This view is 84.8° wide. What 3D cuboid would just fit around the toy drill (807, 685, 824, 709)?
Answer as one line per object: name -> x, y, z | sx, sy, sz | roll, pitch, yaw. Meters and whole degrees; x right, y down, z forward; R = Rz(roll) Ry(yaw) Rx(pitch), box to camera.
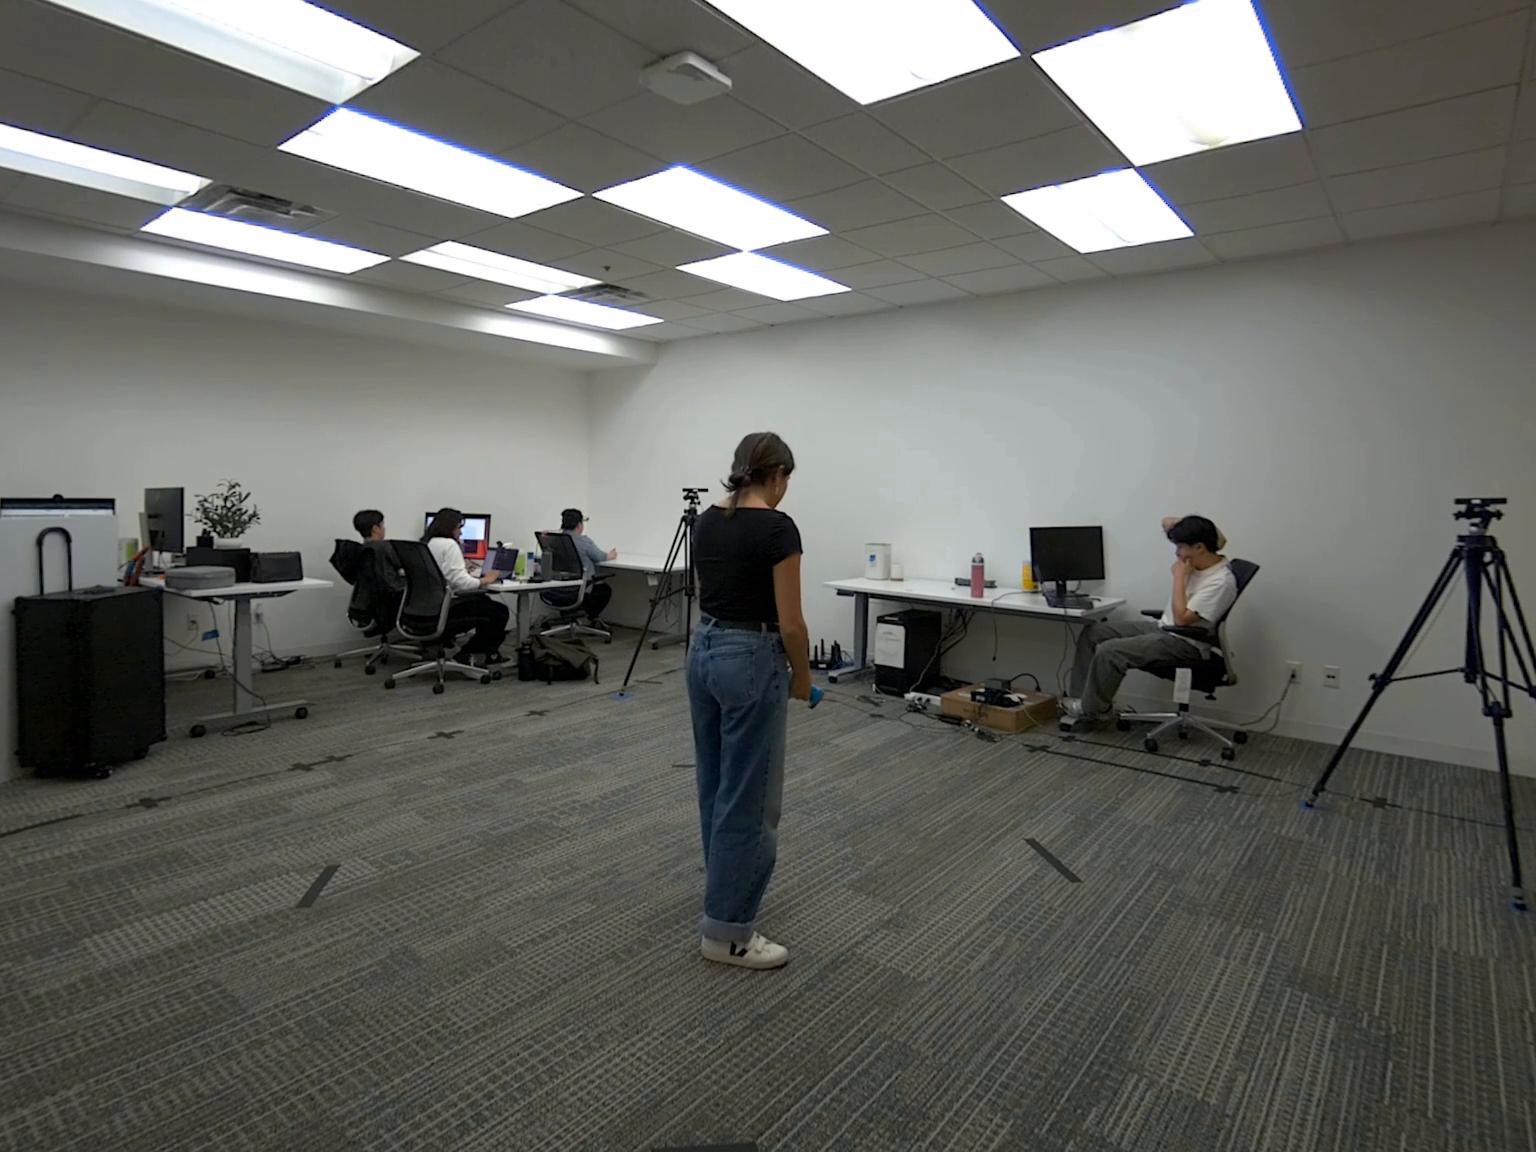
toy drill -> 0.089, 0.380, 2.697 | 0.145, 0.170, 0.061 | 37, -10, -4
